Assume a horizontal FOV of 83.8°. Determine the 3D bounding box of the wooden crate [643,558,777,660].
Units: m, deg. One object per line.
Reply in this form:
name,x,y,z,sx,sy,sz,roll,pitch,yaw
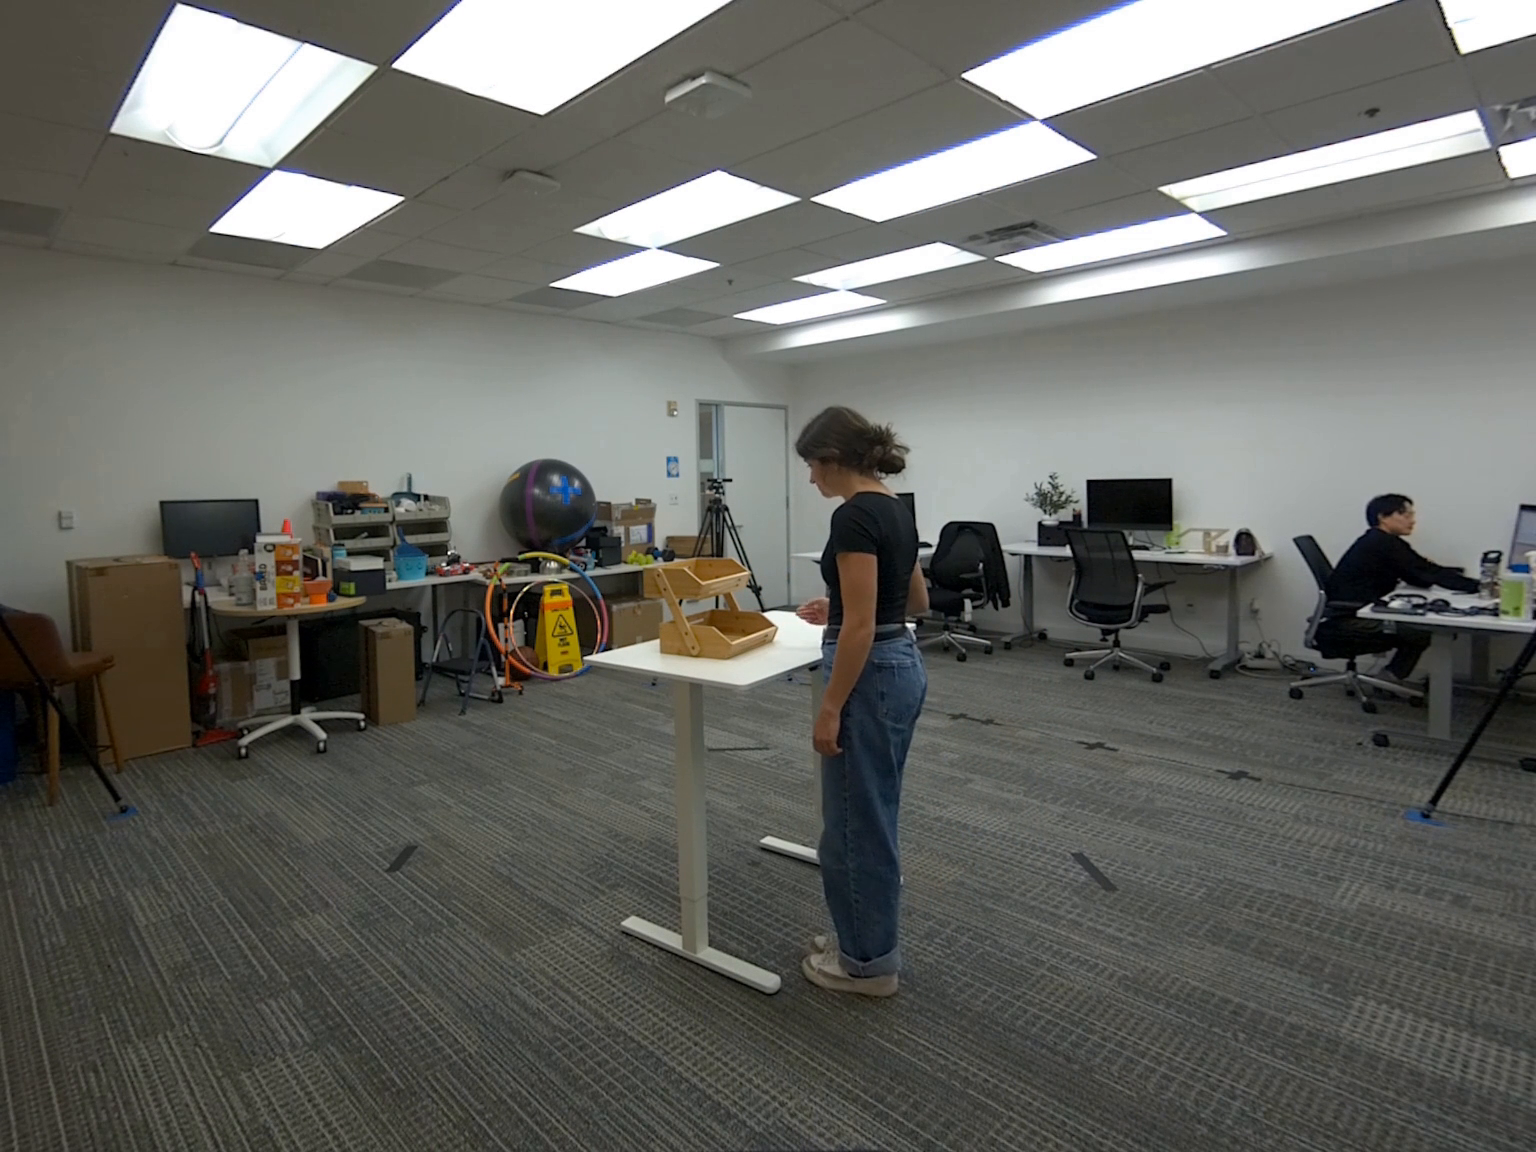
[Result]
wooden crate,-0.165,0.088,2.637,0.309,0.272,0.318,1,6,28
